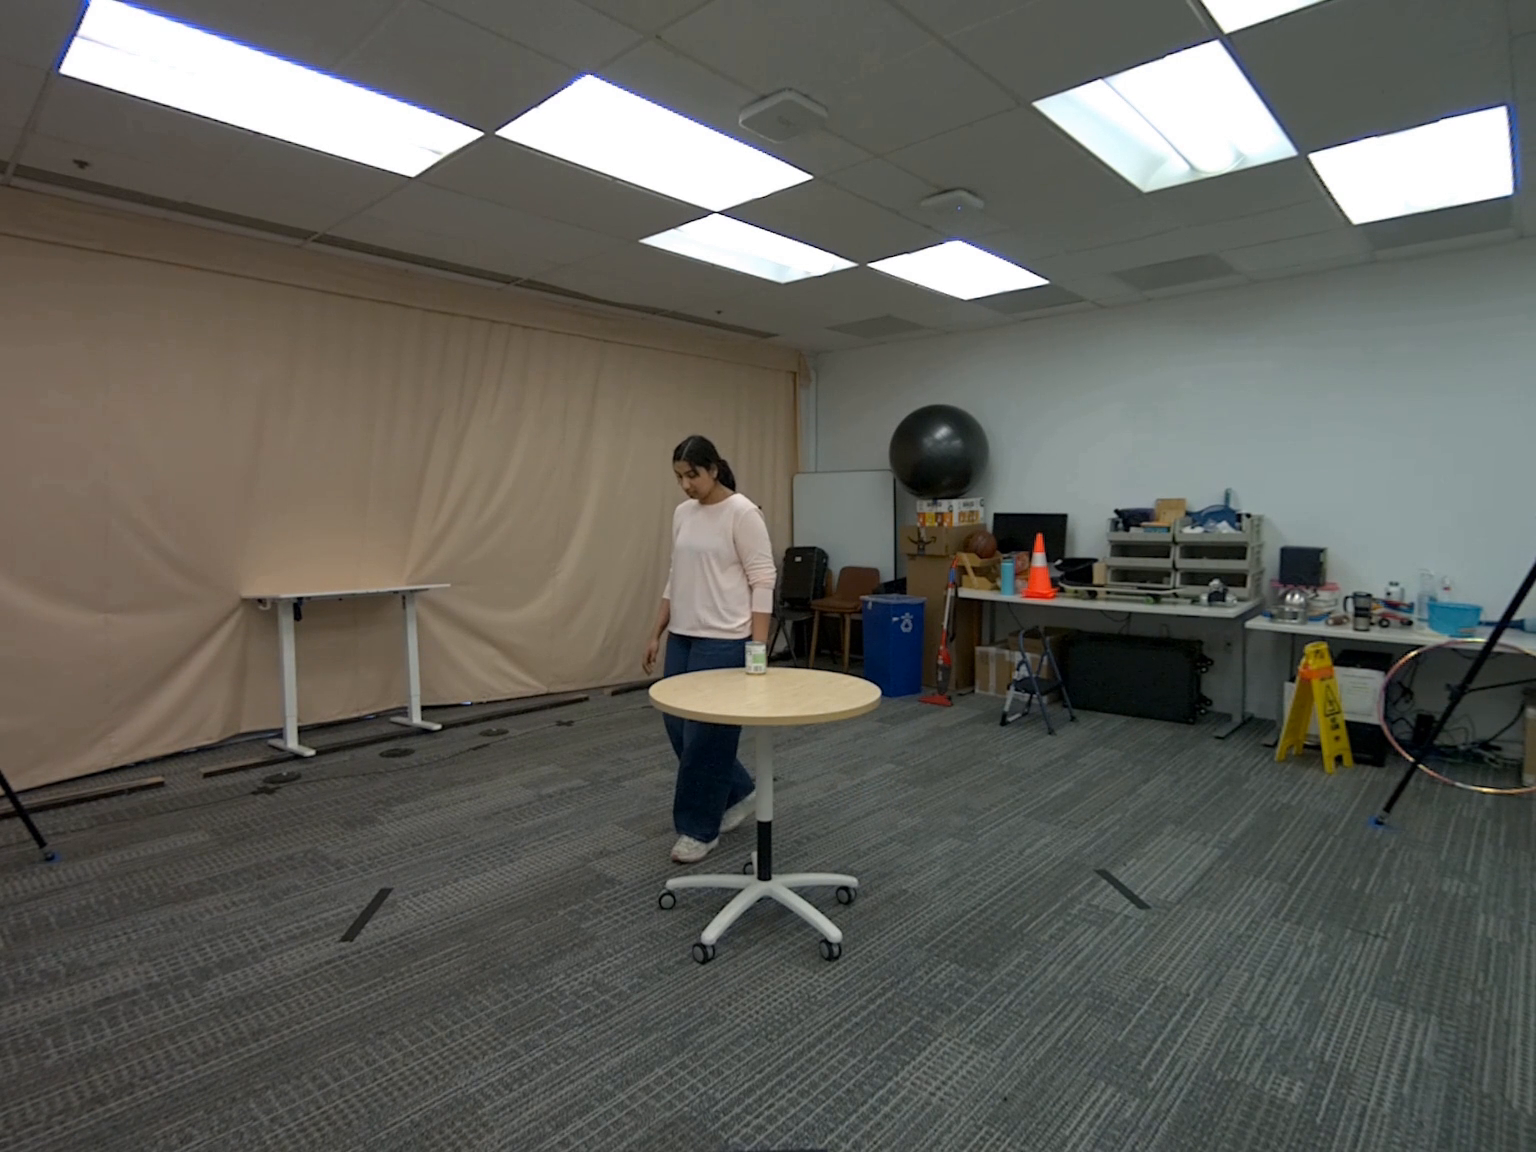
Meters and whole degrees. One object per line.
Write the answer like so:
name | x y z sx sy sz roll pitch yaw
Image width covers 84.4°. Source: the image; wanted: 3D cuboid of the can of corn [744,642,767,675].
can of corn | -0.043 0.304 3.069 0.074 0.111 0.074 -3 0 -2
